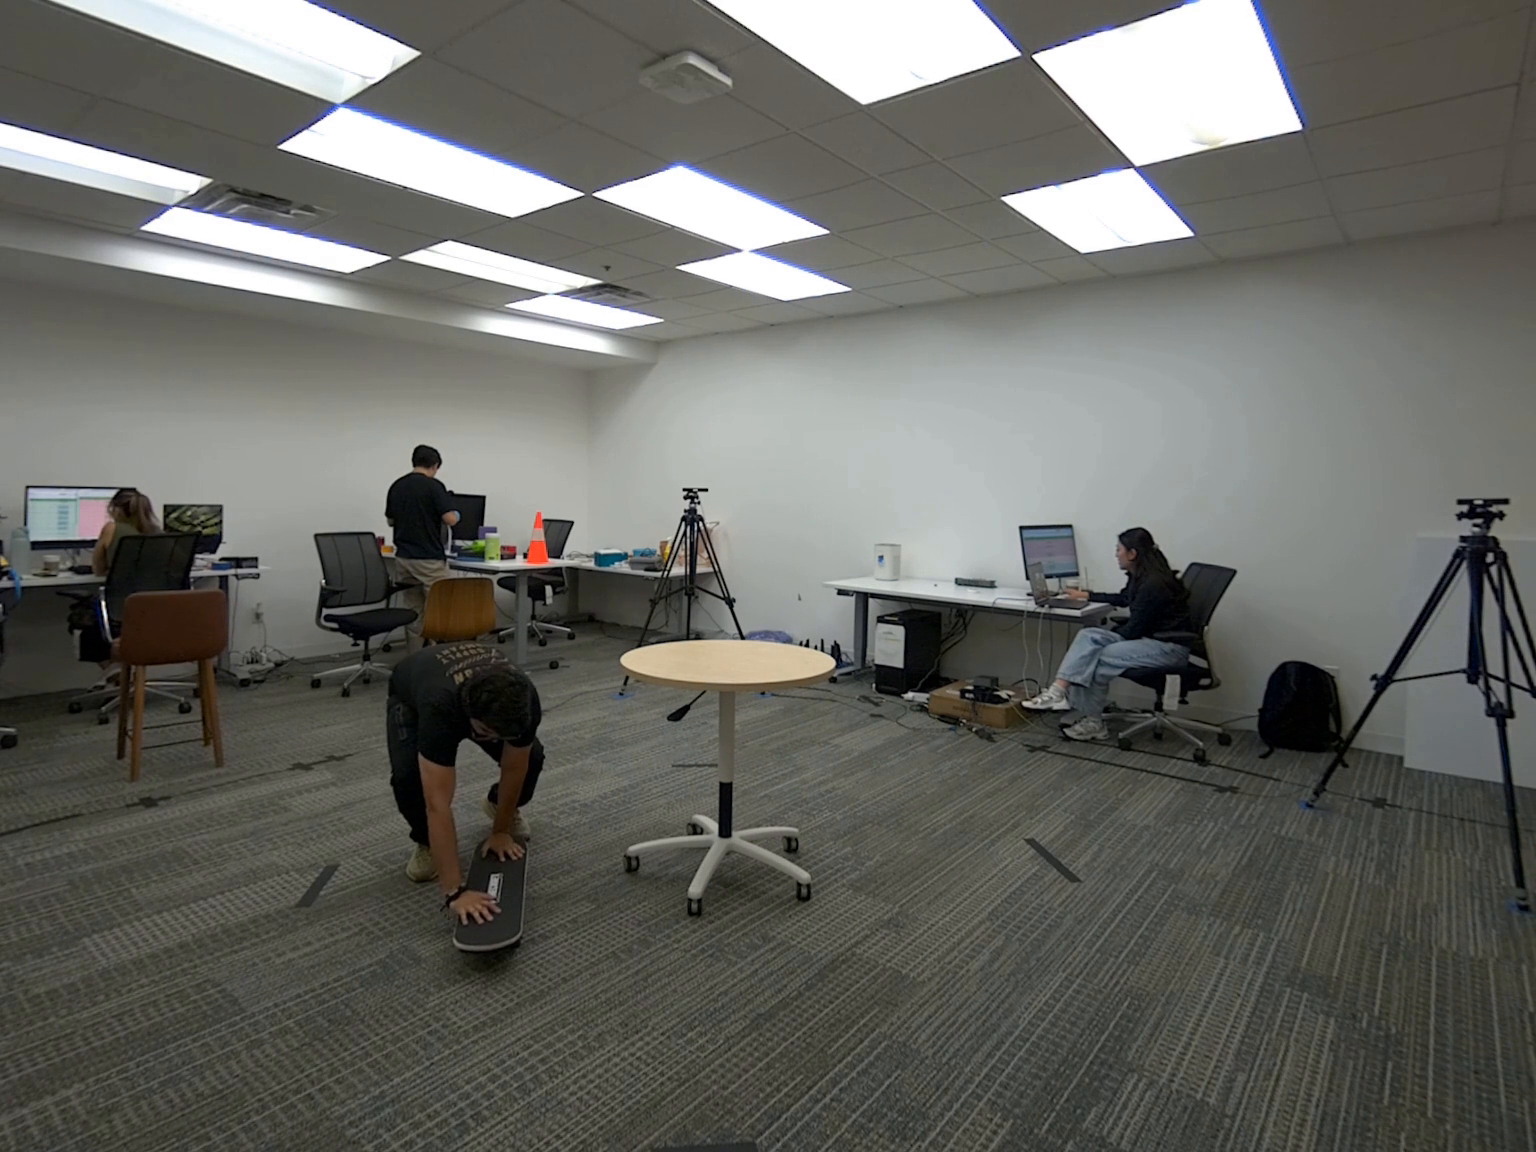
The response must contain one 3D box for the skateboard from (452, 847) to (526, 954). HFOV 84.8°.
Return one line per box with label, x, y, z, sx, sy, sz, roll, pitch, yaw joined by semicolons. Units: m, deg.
skateboard;-0.894;1.040;2.751;0.191;0.110;0.799;-1;5;-14
